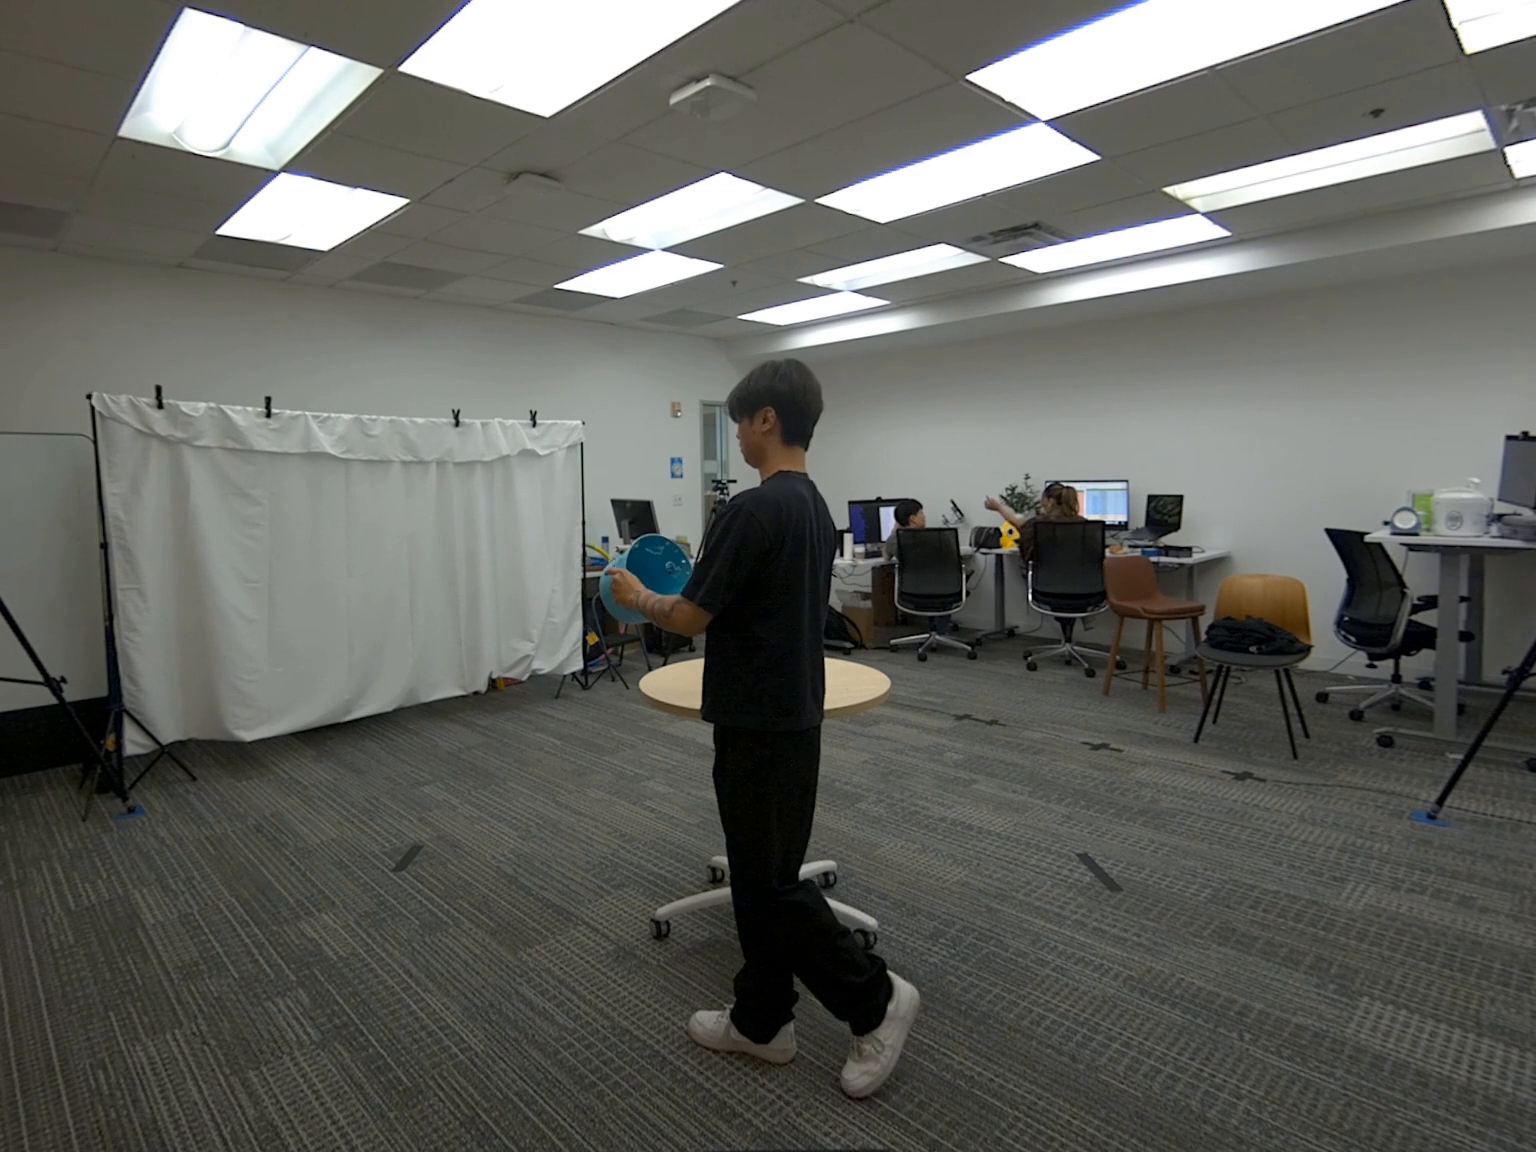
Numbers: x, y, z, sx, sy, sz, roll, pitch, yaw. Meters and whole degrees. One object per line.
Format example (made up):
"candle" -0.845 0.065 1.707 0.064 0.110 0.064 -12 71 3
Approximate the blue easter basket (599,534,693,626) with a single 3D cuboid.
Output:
"blue easter basket" -0.322 0.021 2.259 0.237 0.246 0.158 -6 -12 -45
